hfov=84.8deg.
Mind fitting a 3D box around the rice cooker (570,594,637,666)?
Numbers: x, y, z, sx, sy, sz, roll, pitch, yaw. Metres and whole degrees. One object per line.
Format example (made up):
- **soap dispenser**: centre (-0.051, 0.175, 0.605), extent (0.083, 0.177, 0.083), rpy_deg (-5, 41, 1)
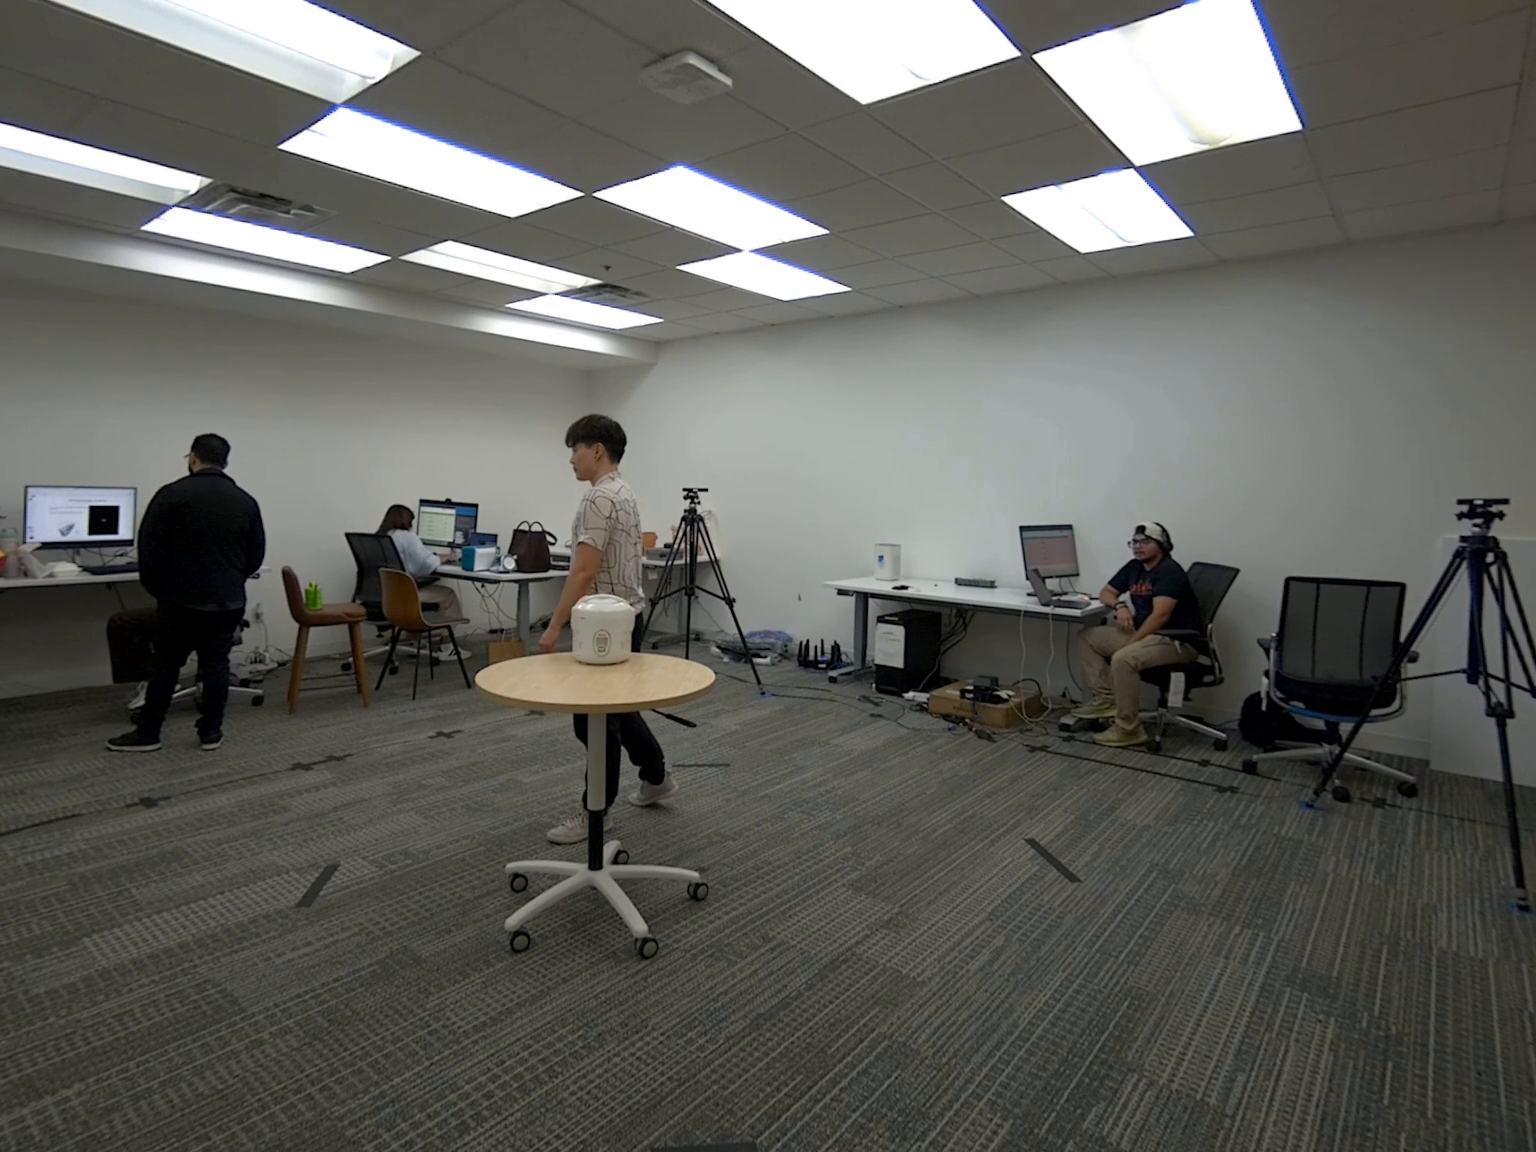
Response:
- **rice cooker**: centre (-0.588, 0.176, 2.969), extent (0.219, 0.232, 0.220), rpy_deg (1, 4, -8)
